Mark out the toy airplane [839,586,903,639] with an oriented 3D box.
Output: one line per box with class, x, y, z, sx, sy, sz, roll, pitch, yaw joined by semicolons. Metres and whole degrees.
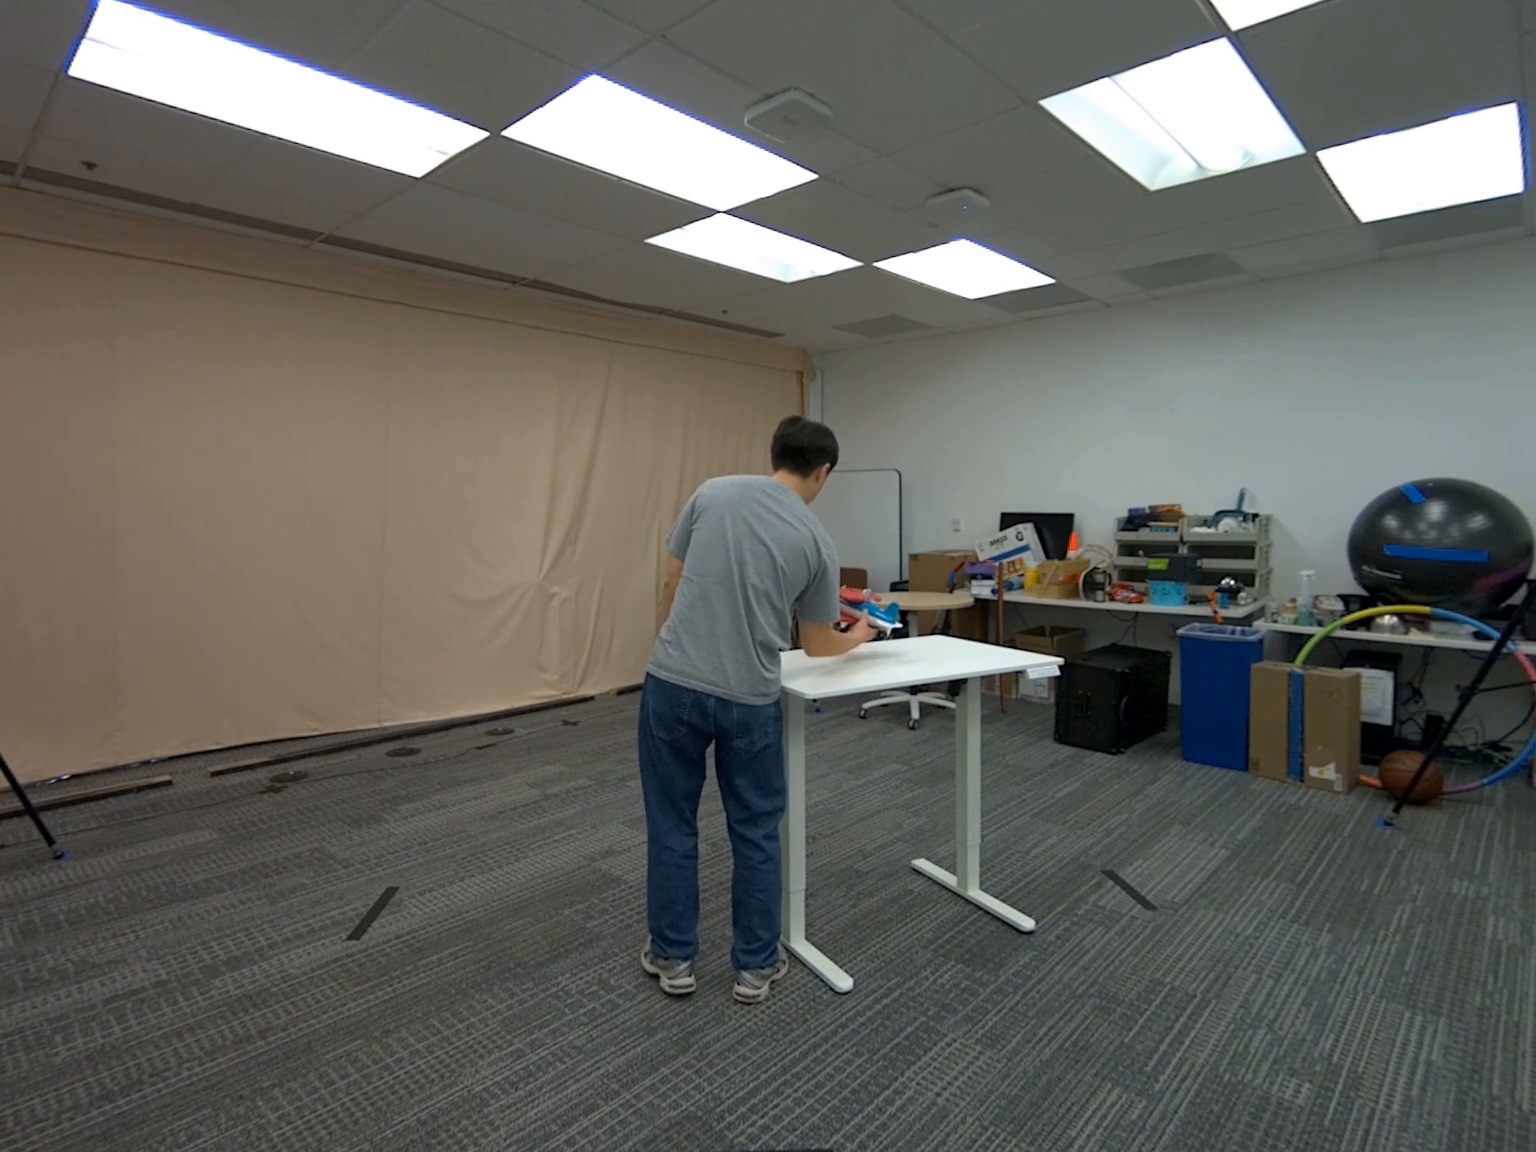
toy airplane;0.331;0.115;2.851;0.263;0.156;0.248;5;2;11
